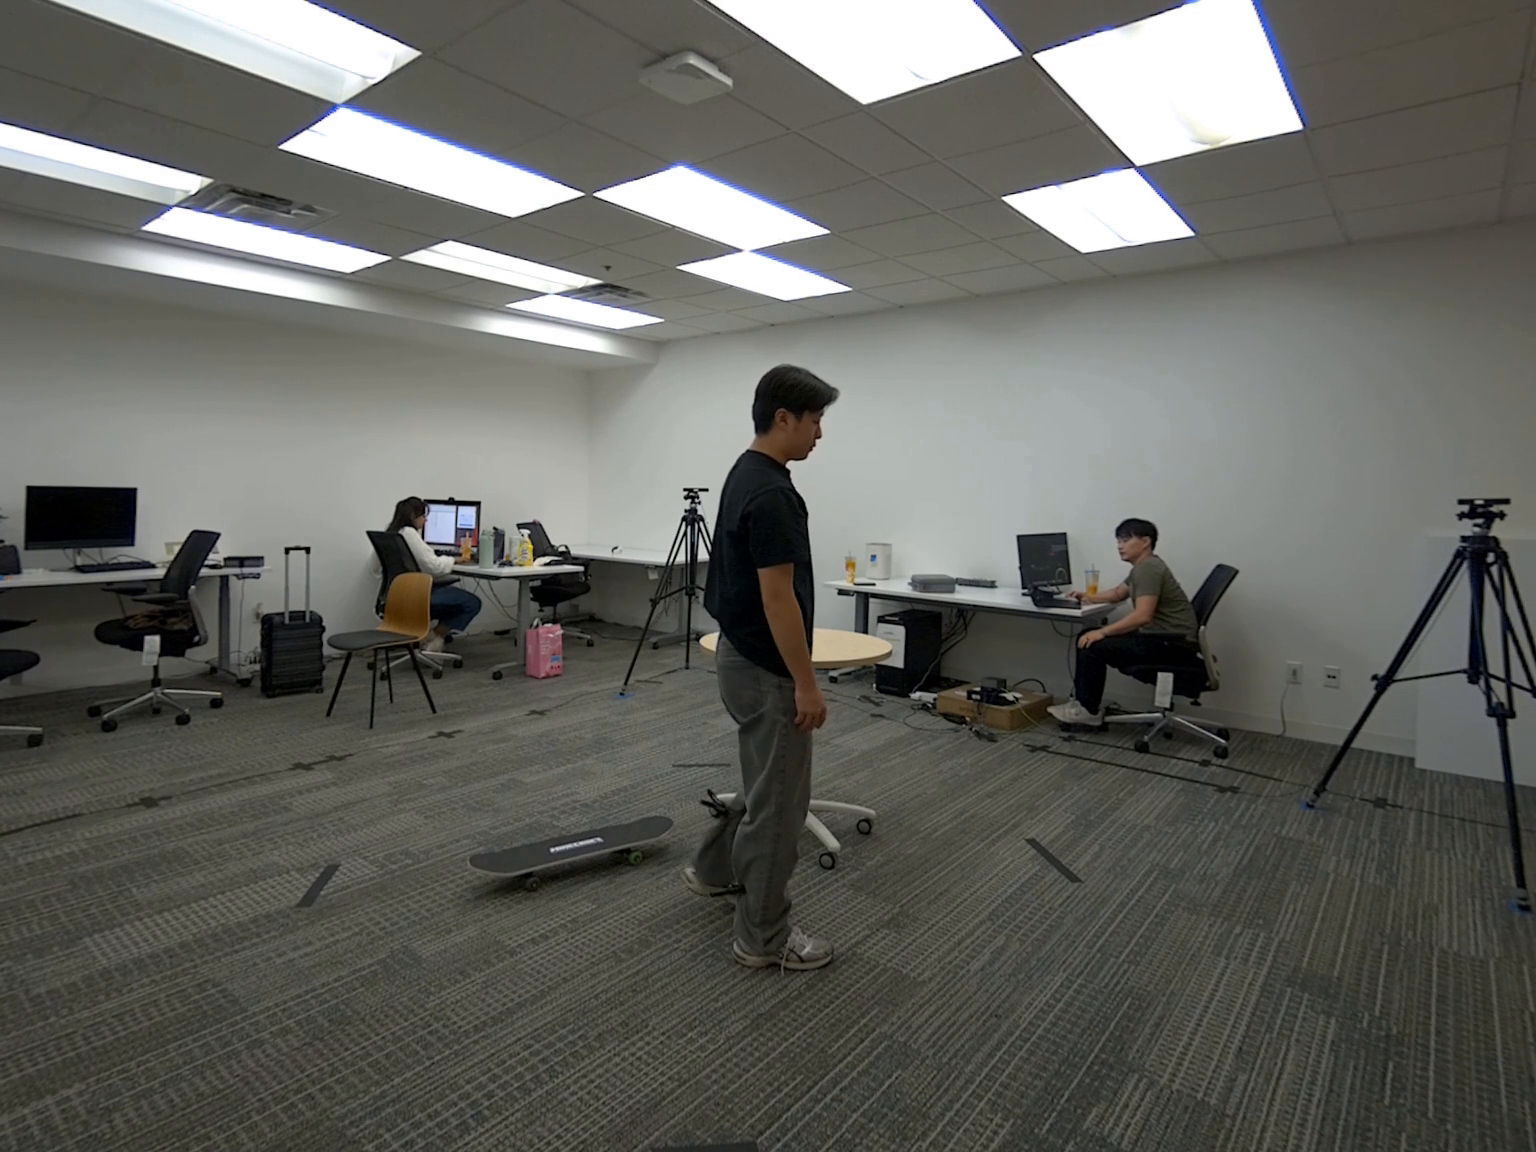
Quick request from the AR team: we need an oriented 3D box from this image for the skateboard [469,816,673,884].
[{"bbox_3d":[-0.703,1.006,3.088,0.763,0.110,0.199,-3,5,-34],"label":"skateboard"}]
